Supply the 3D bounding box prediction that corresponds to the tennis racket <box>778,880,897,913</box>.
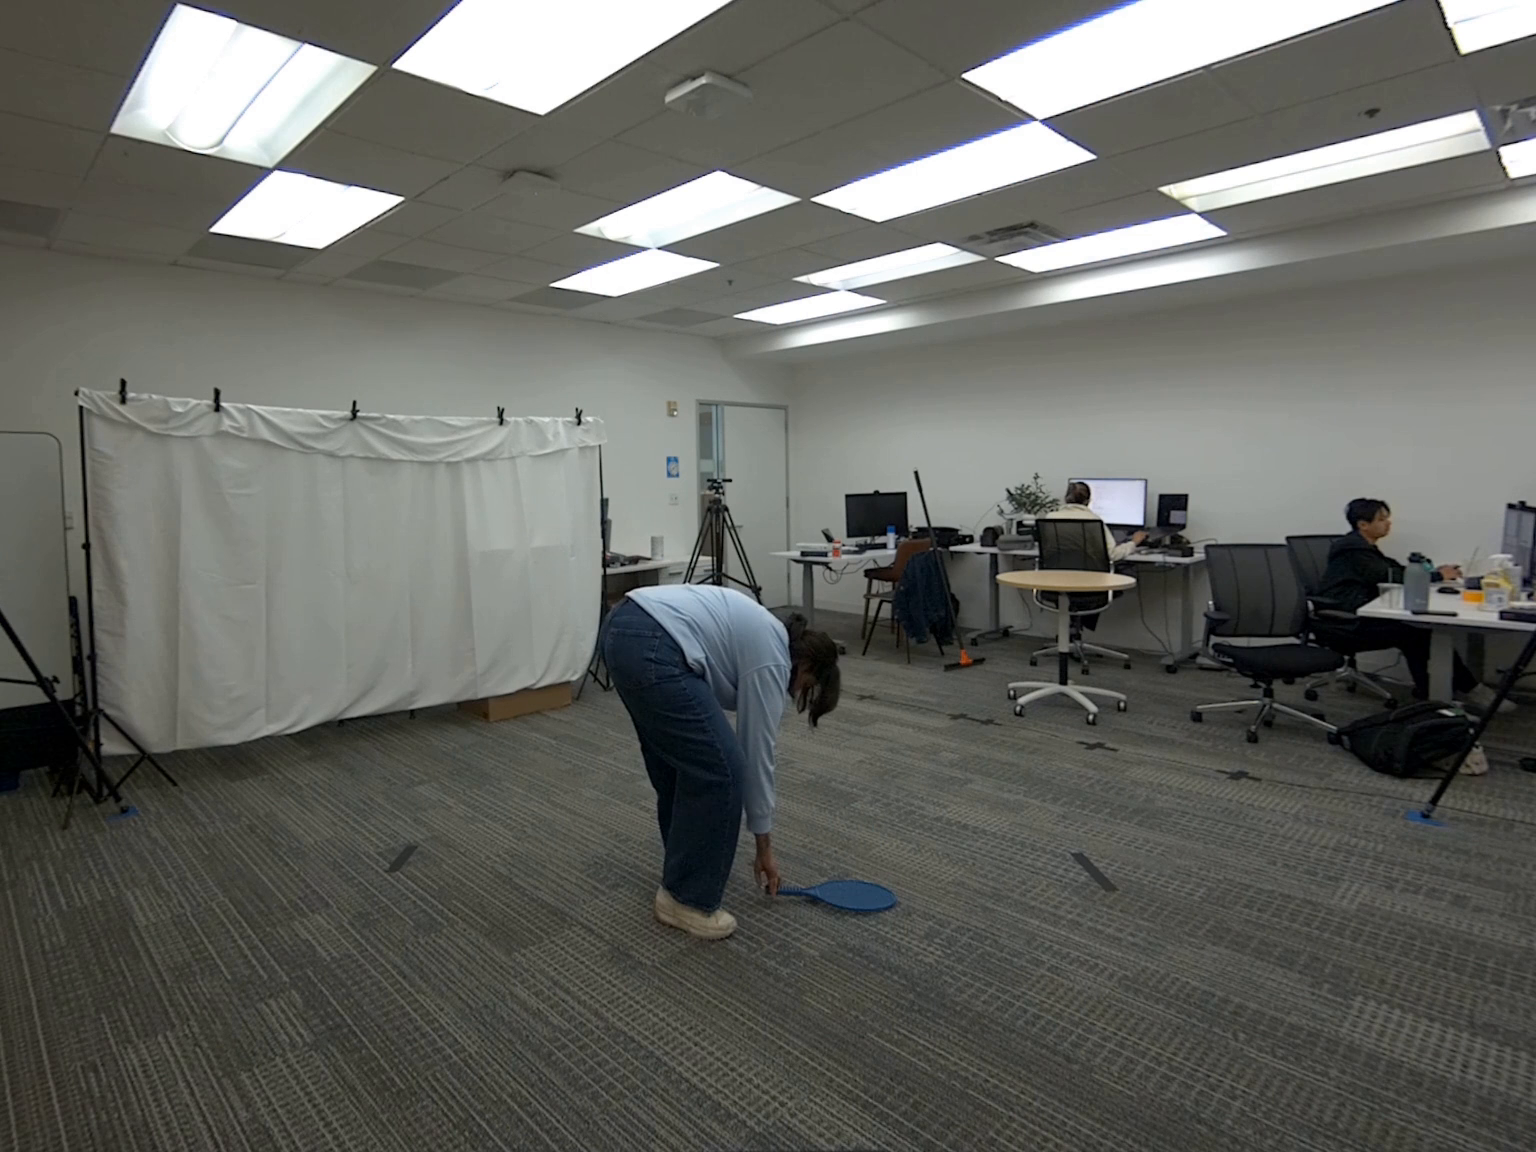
[{"bbox_3d":[0.212,1.046,2.830,0.433,0.032,0.214,3,4,-1],"label":"tennis racket"}]
